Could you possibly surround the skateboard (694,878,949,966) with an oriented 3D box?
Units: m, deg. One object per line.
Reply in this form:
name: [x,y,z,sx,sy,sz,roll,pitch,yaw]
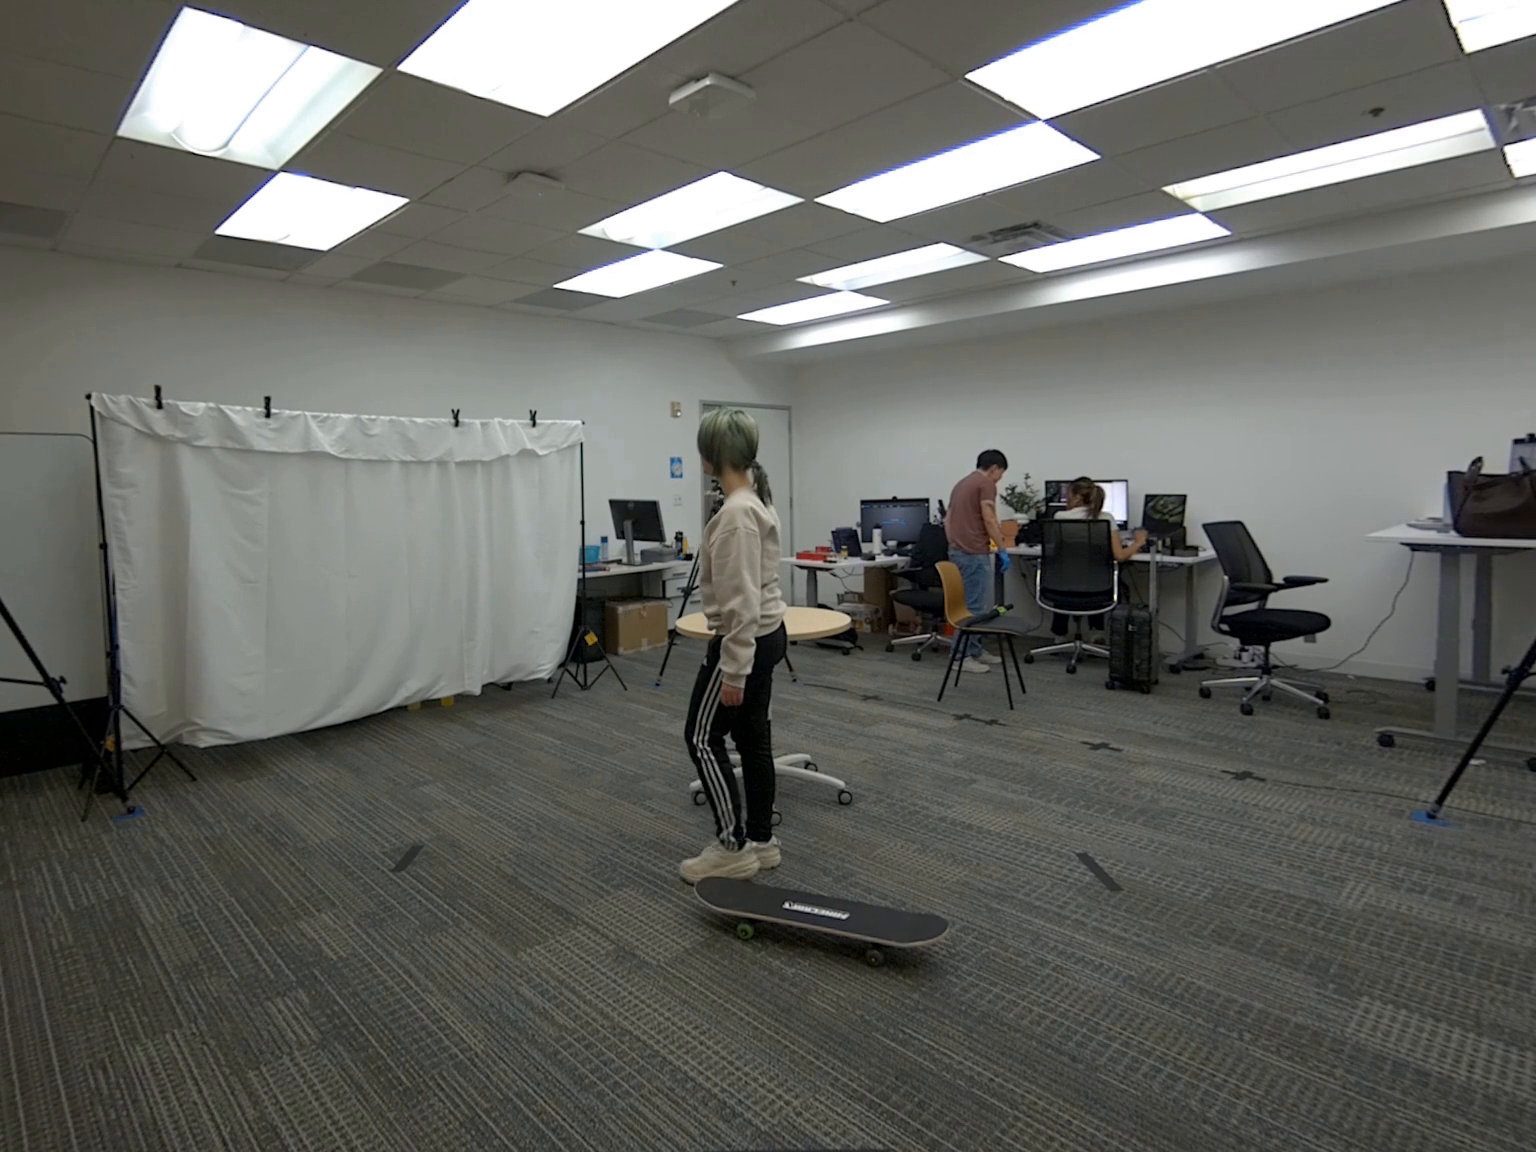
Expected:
skateboard: [0.154,1.045,2.589,0.802,0.110,0.190,1,6,22]
